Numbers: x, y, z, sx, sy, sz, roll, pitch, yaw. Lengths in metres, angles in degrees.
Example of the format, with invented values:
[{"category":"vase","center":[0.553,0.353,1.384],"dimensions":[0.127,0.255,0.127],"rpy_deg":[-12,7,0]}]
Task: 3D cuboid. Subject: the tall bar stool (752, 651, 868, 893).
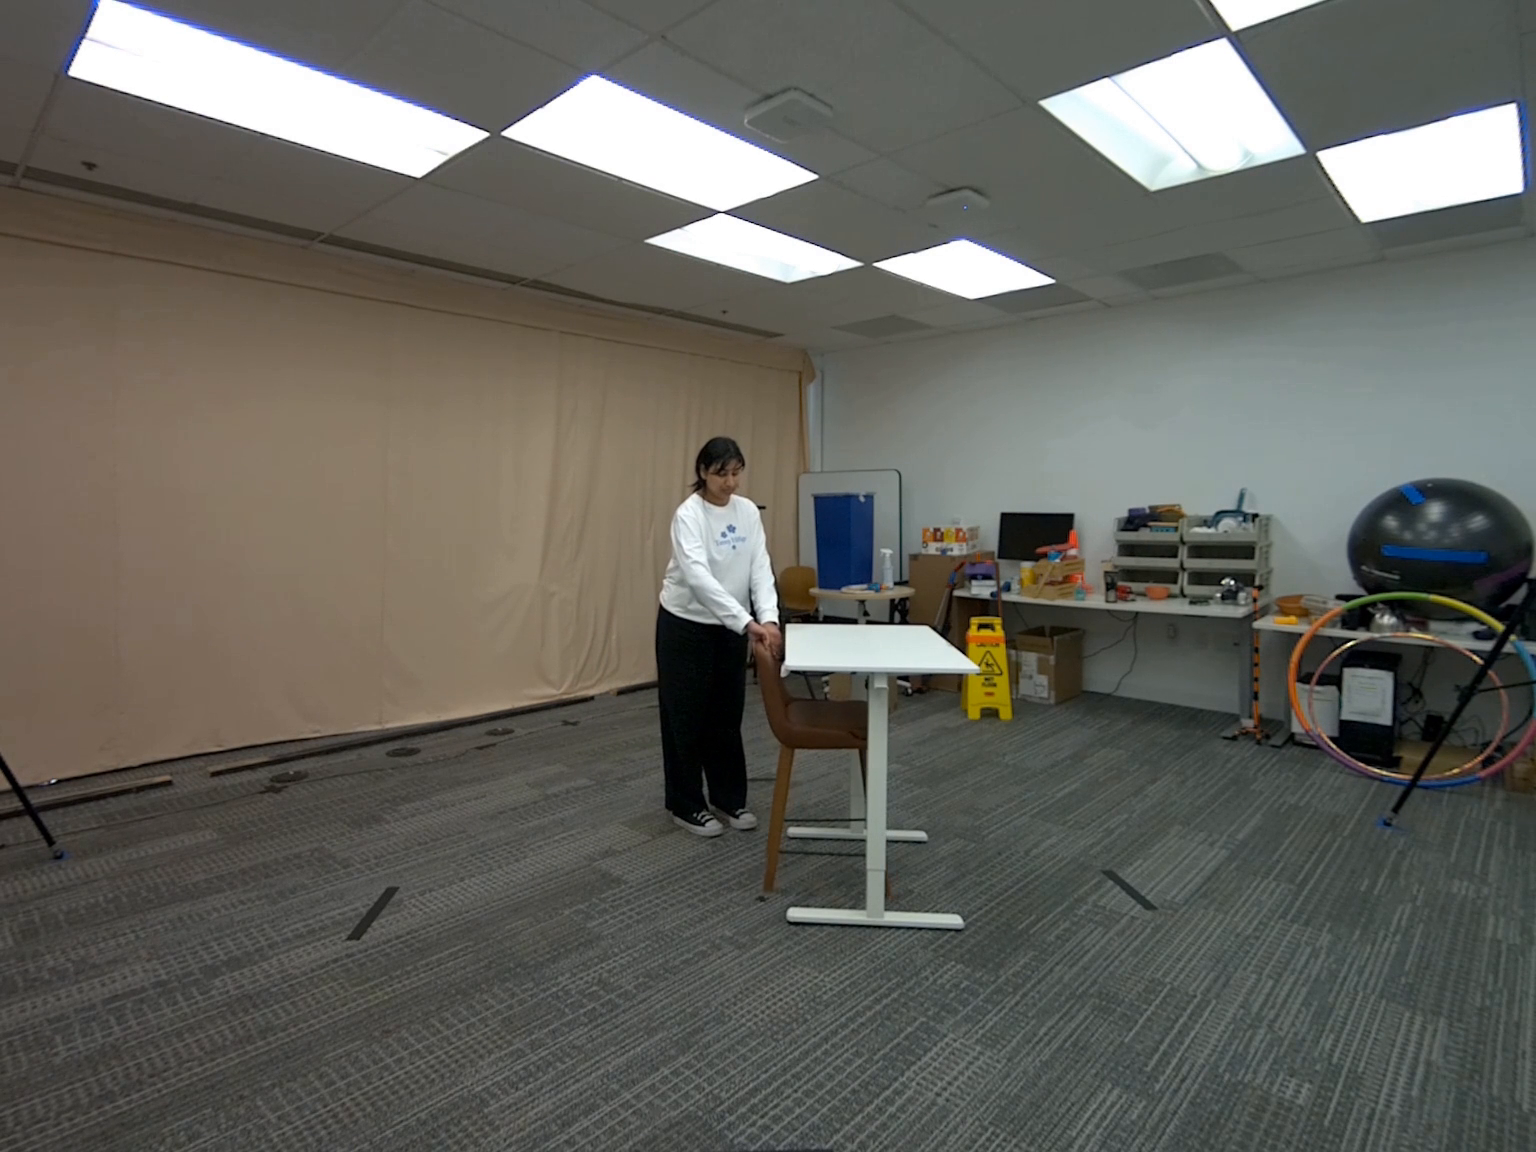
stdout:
[{"category":"tall bar stool","center":[0.210,0.695,3.184],"dimensions":[0.471,0.888,0.454],"rpy_deg":[-1,3,5]}]
